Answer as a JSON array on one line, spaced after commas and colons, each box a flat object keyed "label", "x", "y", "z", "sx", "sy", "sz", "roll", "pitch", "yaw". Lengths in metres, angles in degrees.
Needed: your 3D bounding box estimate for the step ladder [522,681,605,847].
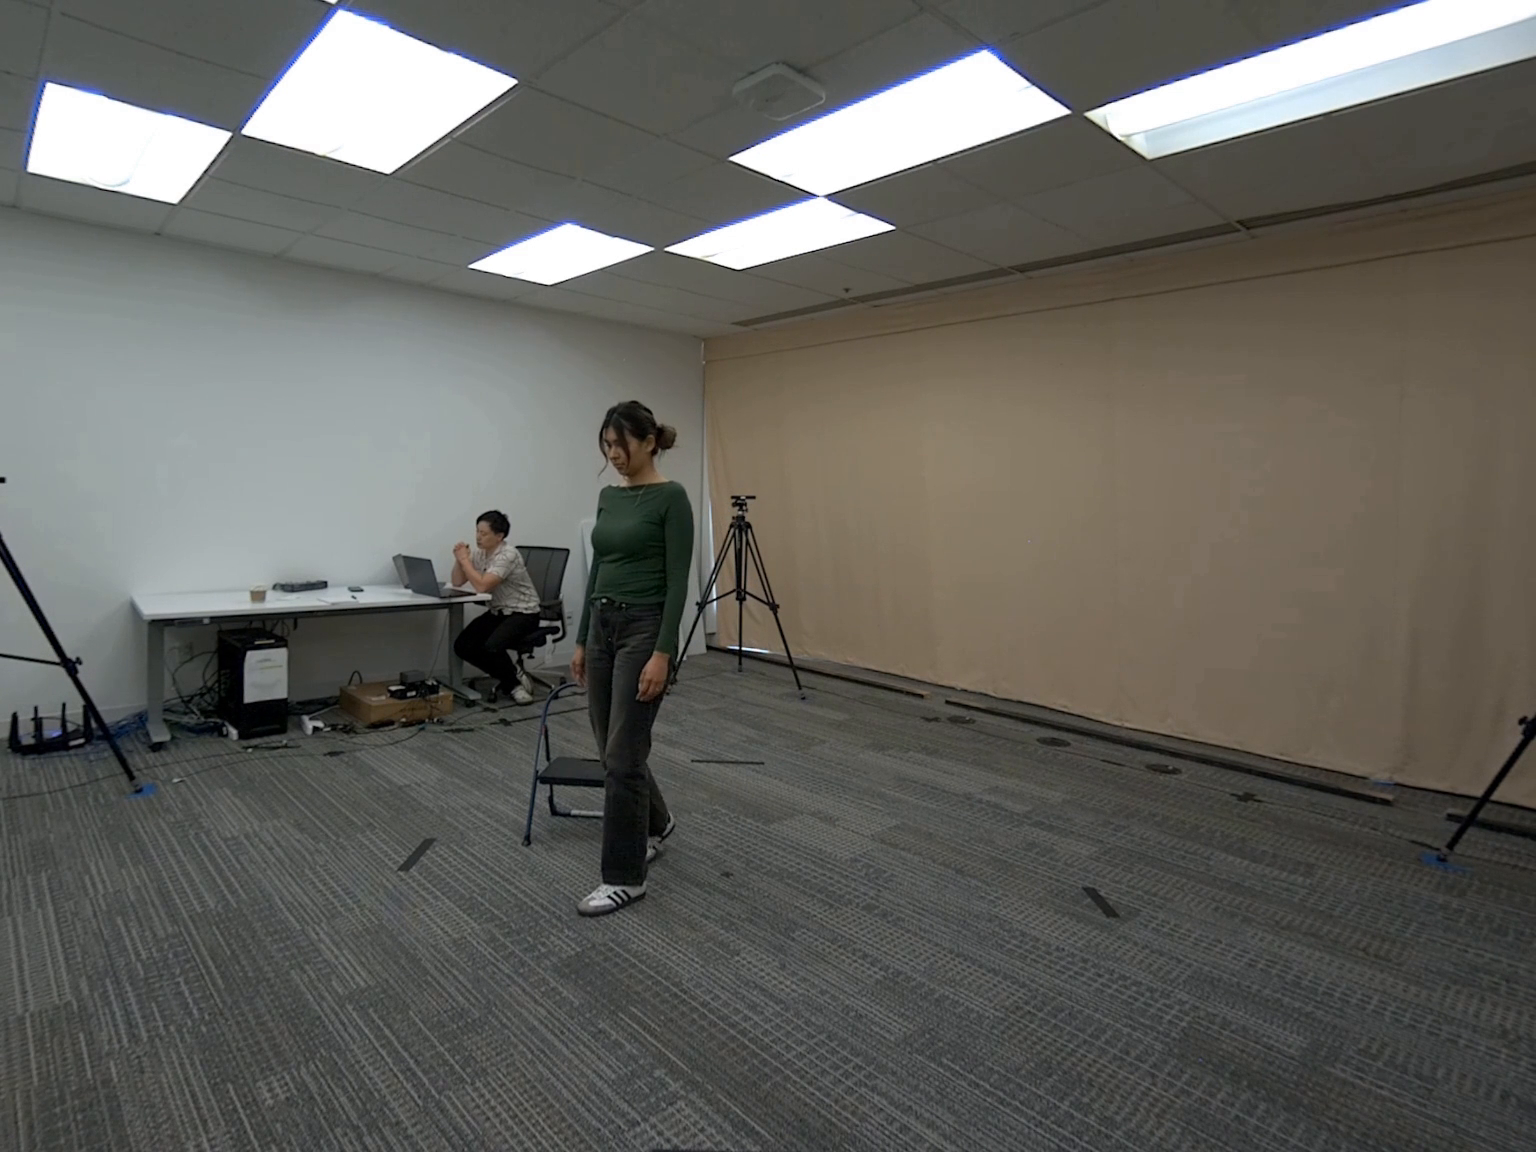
[{"label": "step ladder", "x": -0.751, "y": 0.755, "z": 3.453, "sx": 0.433, "sy": 0.604, "sz": 0.348, "roll": 2, "pitch": 4, "yaw": 5}]
